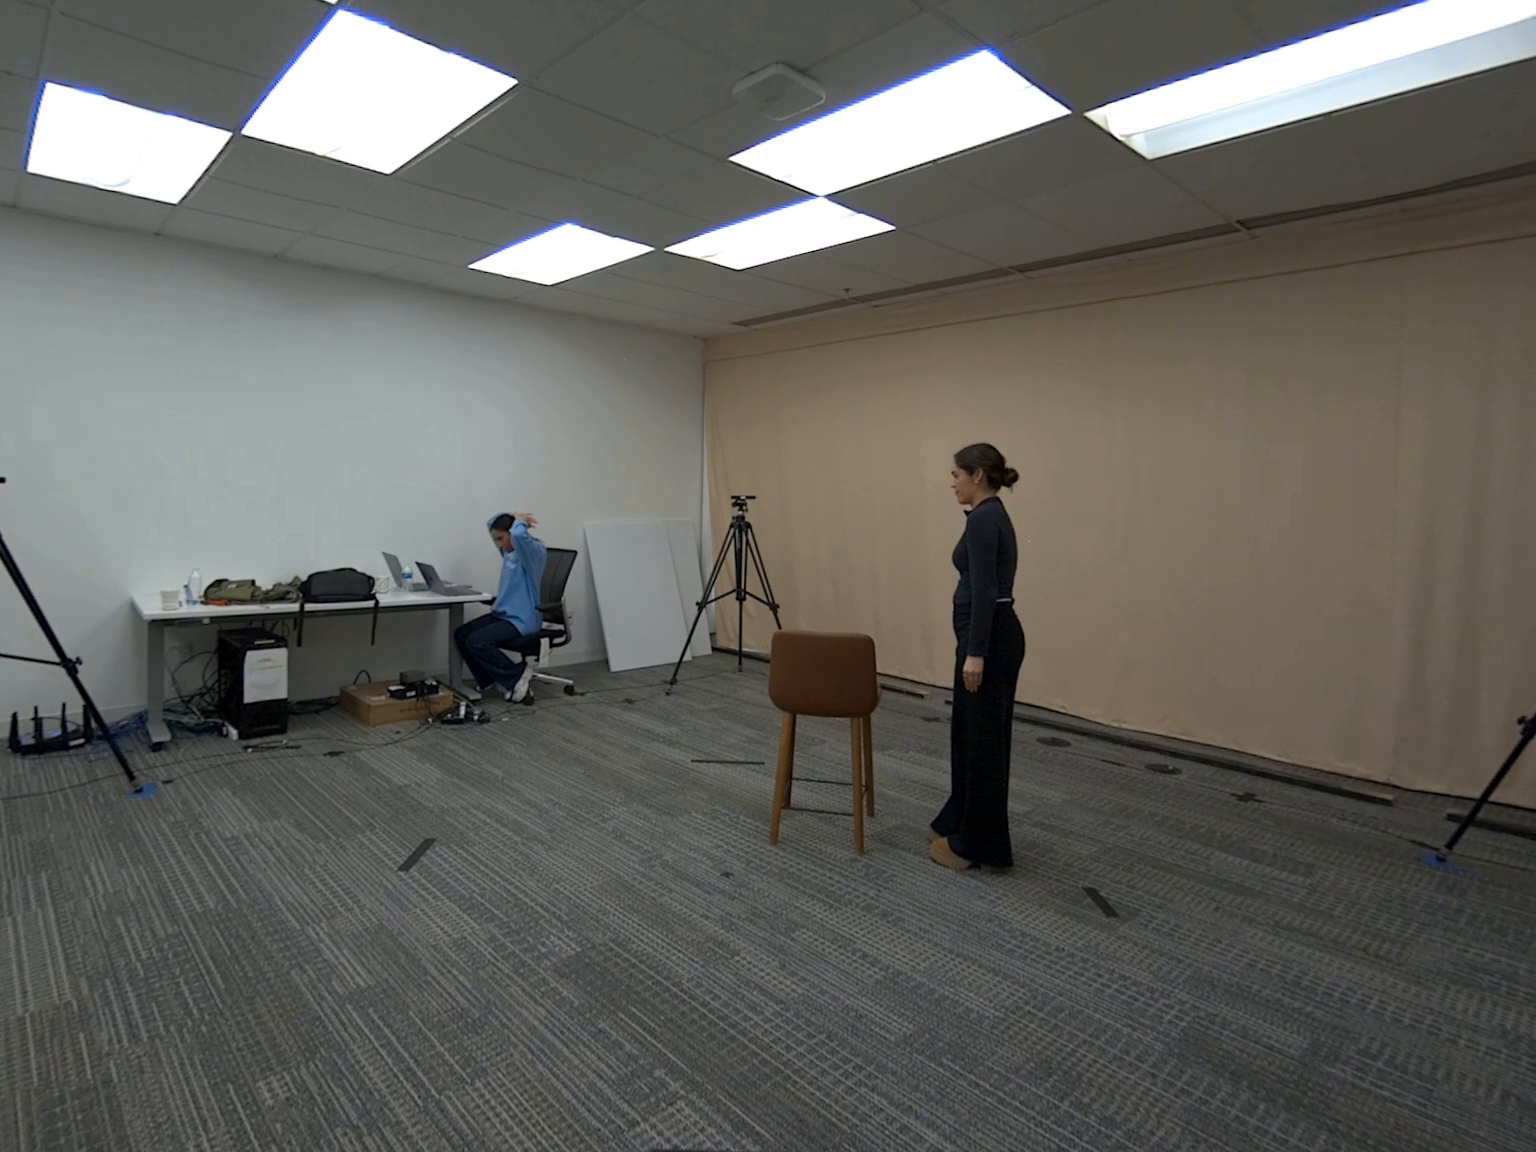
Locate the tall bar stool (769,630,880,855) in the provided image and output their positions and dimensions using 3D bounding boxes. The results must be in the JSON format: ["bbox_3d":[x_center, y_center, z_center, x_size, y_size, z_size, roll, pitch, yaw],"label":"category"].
[{"bbox_3d":[0.237,0.638,3.542,0.462,0.887,0.463,2,4,13],"label":"tall bar stool"}]
